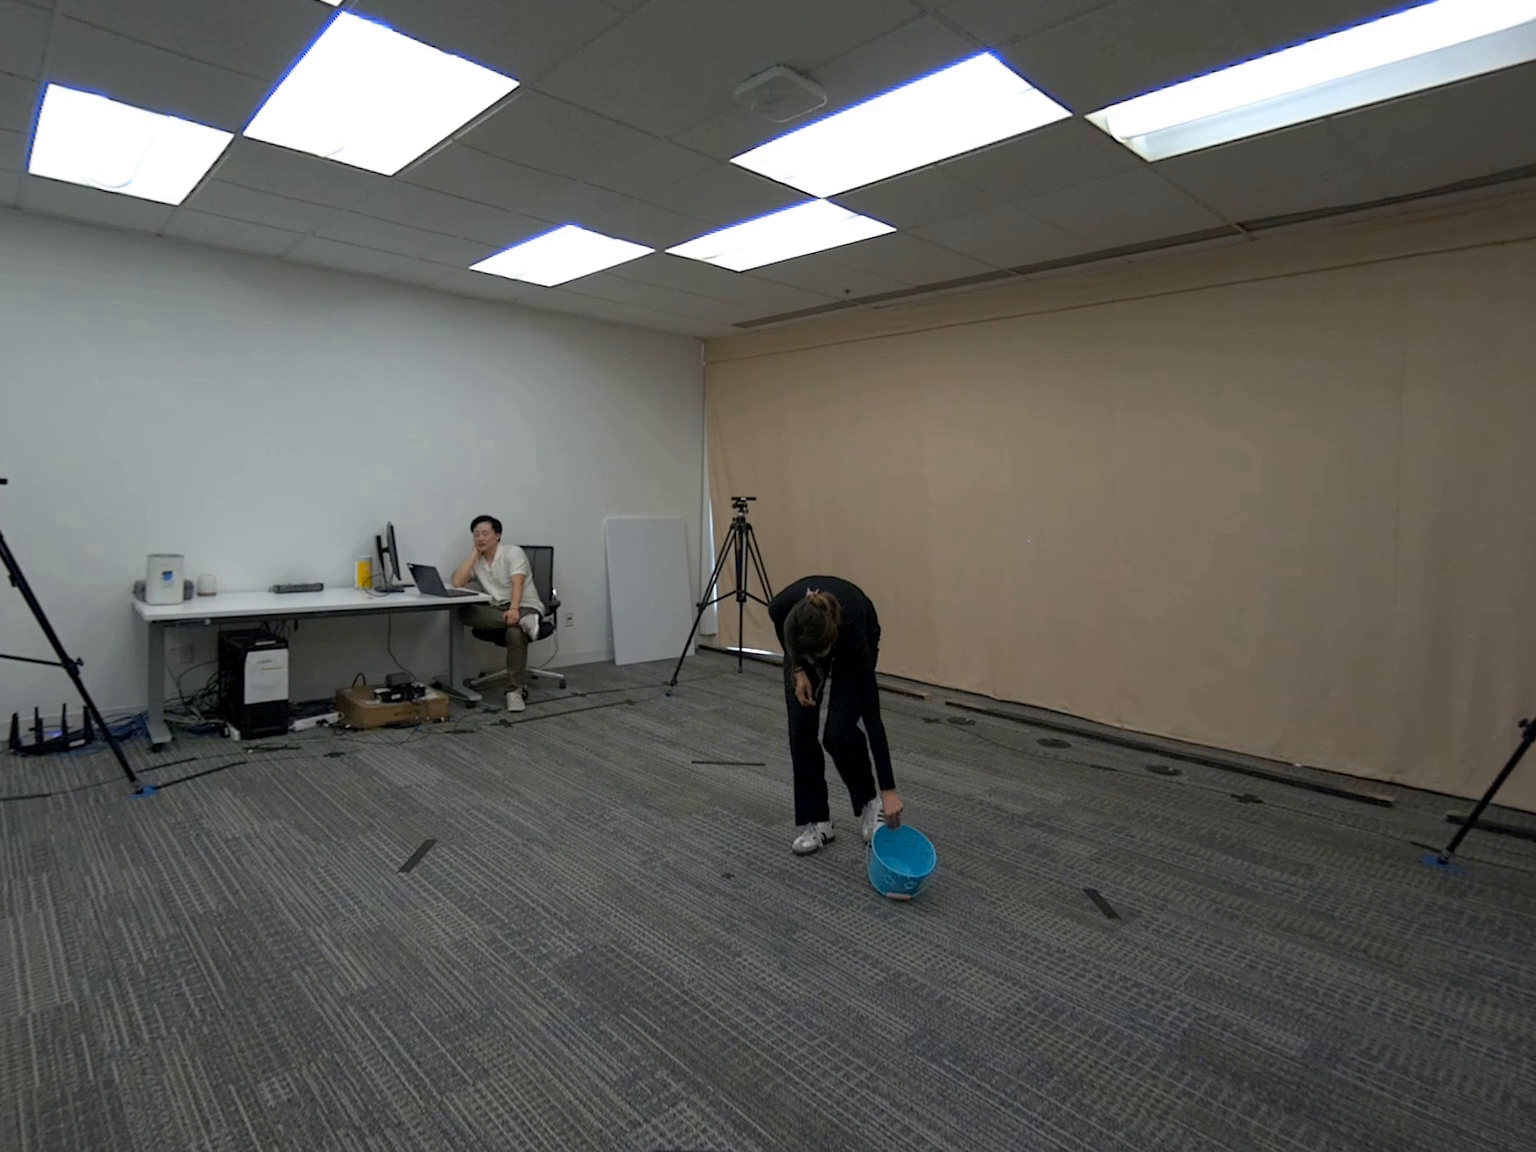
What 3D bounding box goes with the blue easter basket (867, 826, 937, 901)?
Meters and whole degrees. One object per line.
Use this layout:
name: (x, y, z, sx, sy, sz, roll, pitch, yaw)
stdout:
blue easter basket: (0.457, 1.030, 2.981, 0.242, 0.153, 0.248, 7, 29, -5)
